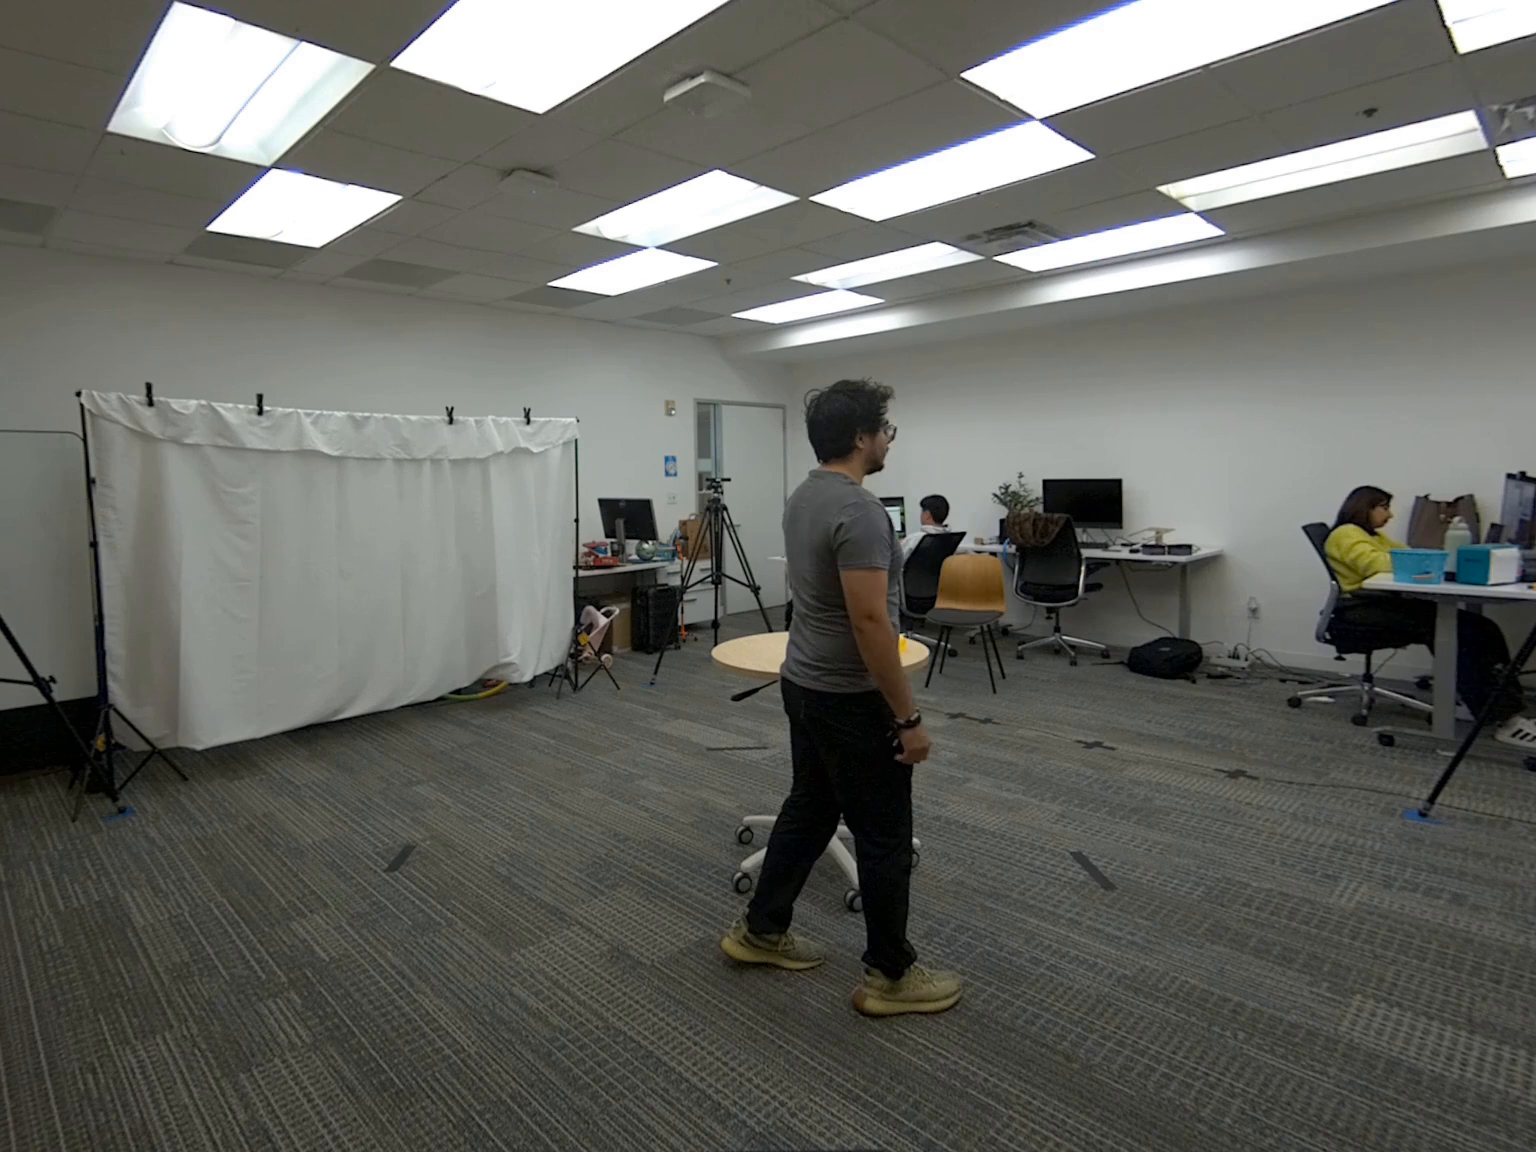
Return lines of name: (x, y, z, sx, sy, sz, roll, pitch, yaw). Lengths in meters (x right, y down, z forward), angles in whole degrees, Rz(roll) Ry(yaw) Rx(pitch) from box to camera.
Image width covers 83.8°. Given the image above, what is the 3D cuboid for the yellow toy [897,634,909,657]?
yellow toy: (0.387, 0.144, 3.024, 0.211, 0.230, 0.188, 2, 5, 36)
